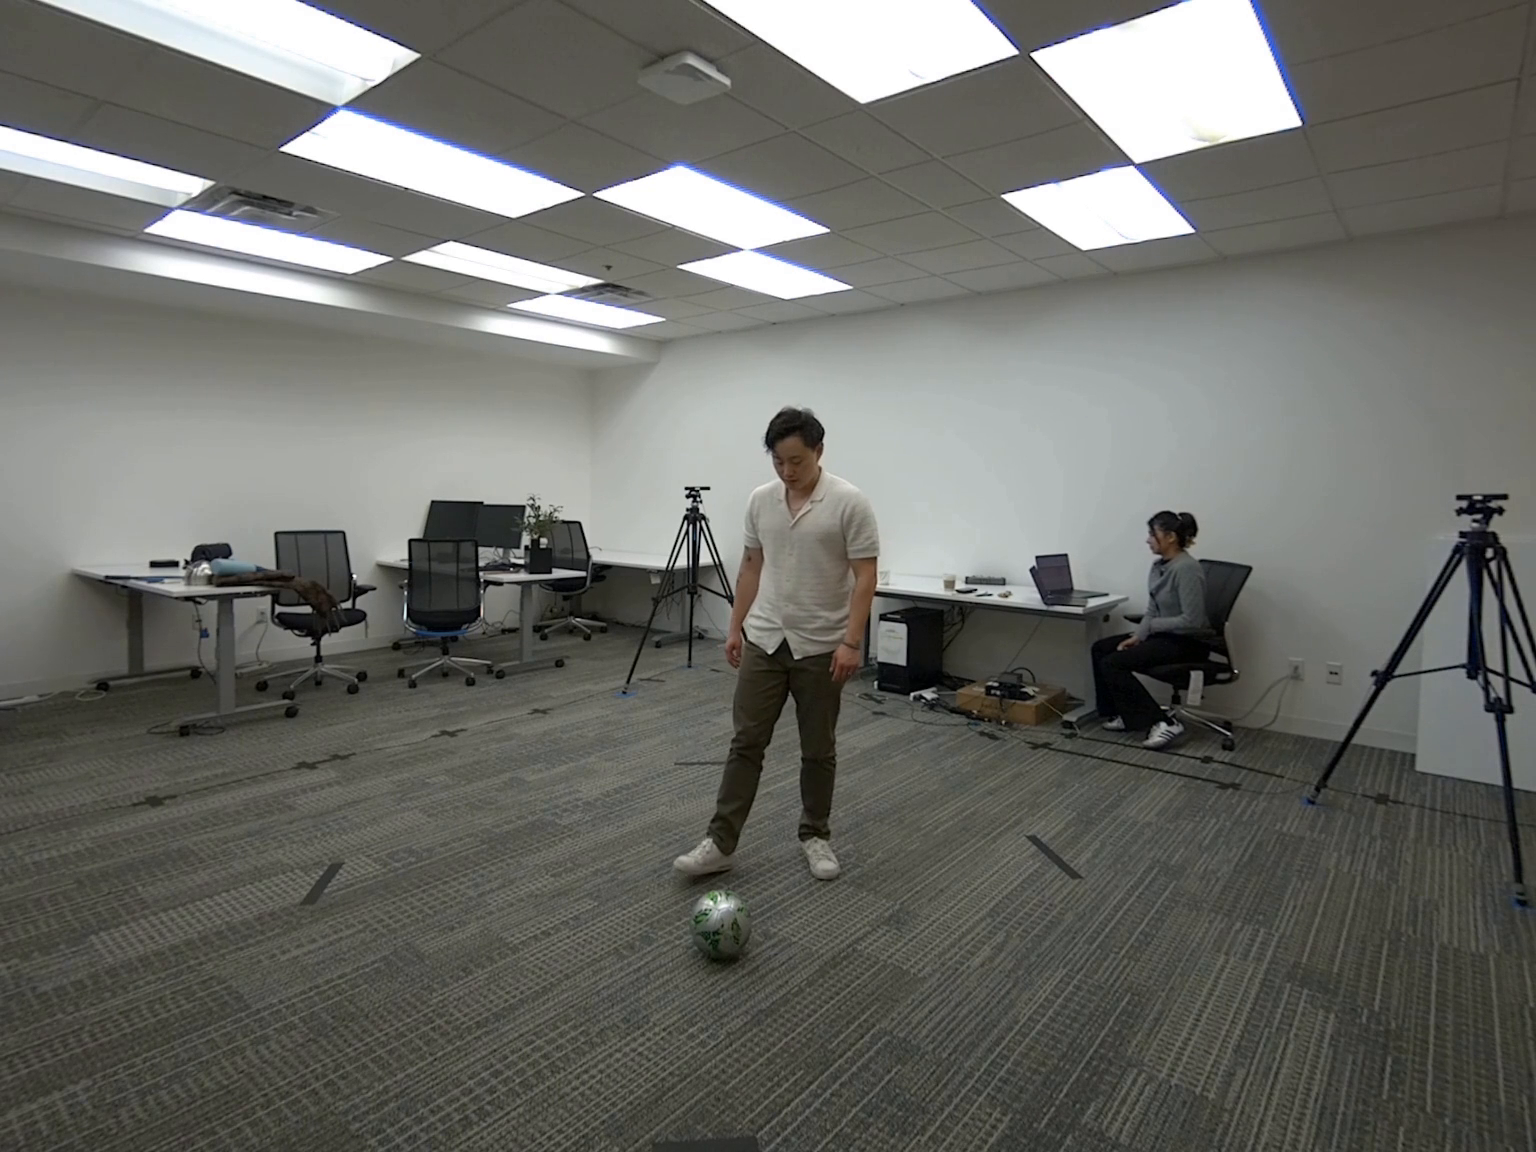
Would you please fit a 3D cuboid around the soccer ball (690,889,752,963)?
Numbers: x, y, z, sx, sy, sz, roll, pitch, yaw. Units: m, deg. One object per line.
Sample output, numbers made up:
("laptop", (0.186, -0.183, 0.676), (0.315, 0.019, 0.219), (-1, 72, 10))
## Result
("soccer ball", (-0.146, 1.031, 2.523), (0.187, 0.187, 0.188), (1, 4, -2))
